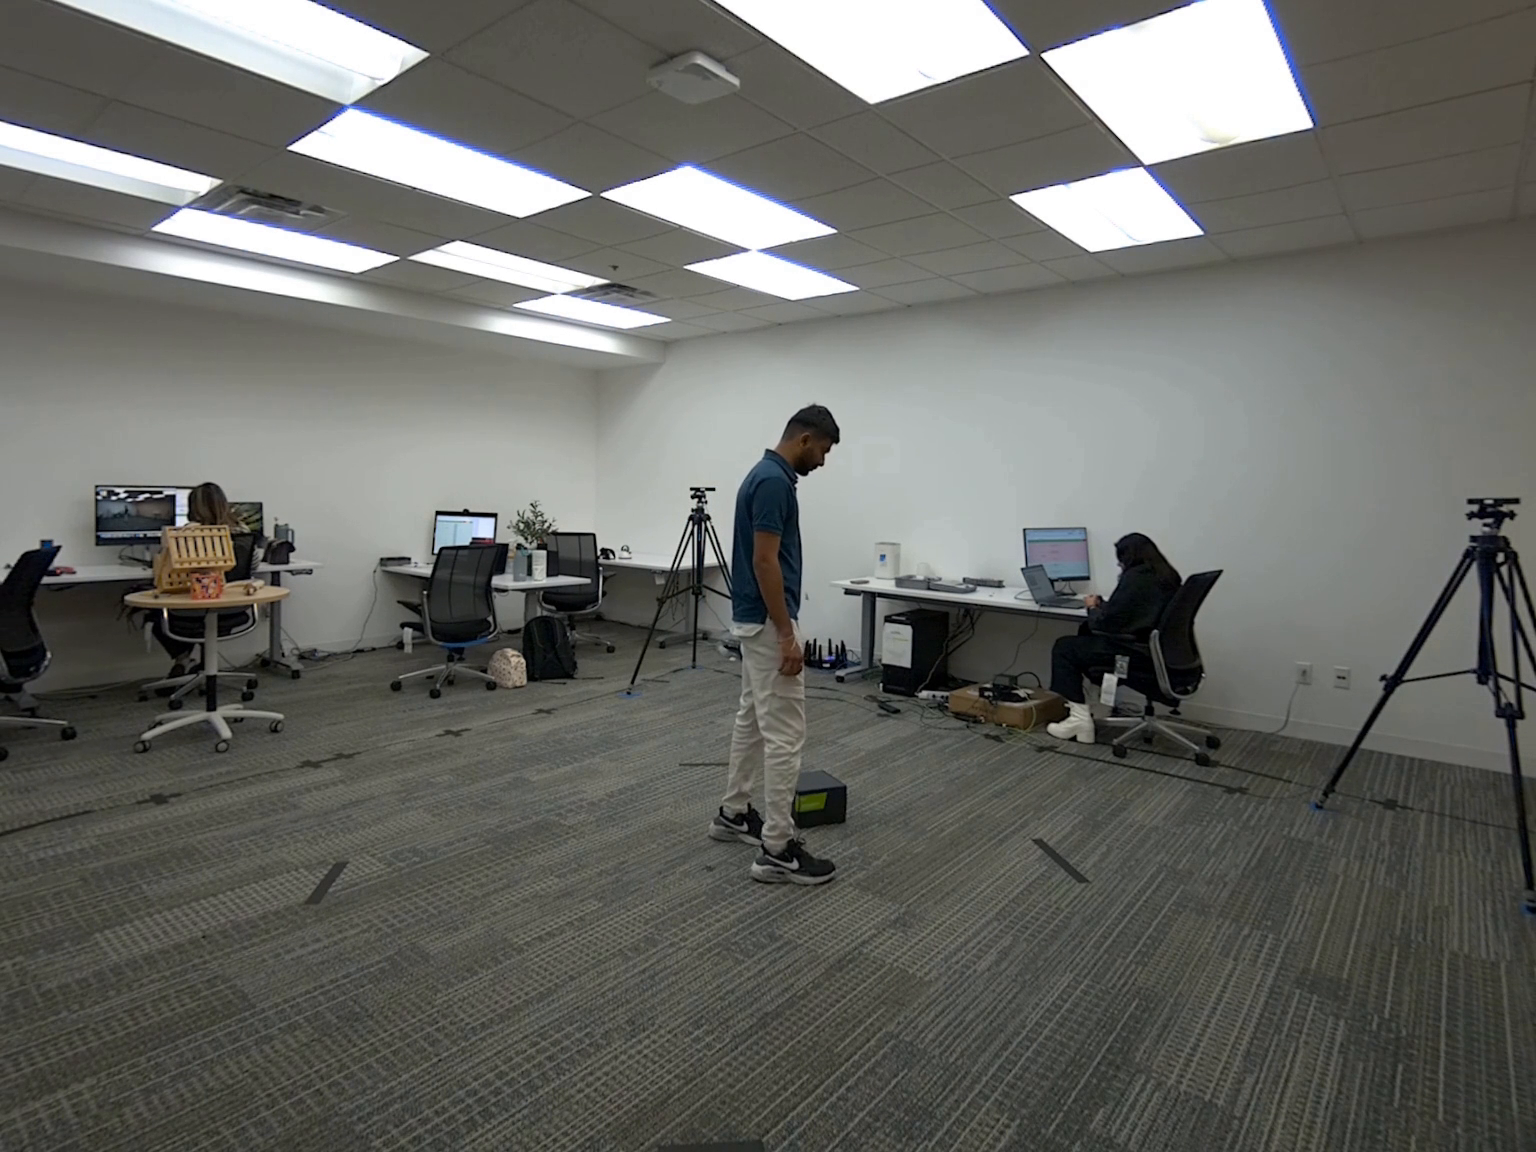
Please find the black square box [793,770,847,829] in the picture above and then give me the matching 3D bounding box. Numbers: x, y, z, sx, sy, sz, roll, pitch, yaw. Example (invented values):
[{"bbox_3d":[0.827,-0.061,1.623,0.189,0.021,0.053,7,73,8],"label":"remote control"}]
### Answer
[{"bbox_3d":[0.180,0.940,3.630,0.223,0.155,0.223,-1,6,-24],"label":"black square box"}]
